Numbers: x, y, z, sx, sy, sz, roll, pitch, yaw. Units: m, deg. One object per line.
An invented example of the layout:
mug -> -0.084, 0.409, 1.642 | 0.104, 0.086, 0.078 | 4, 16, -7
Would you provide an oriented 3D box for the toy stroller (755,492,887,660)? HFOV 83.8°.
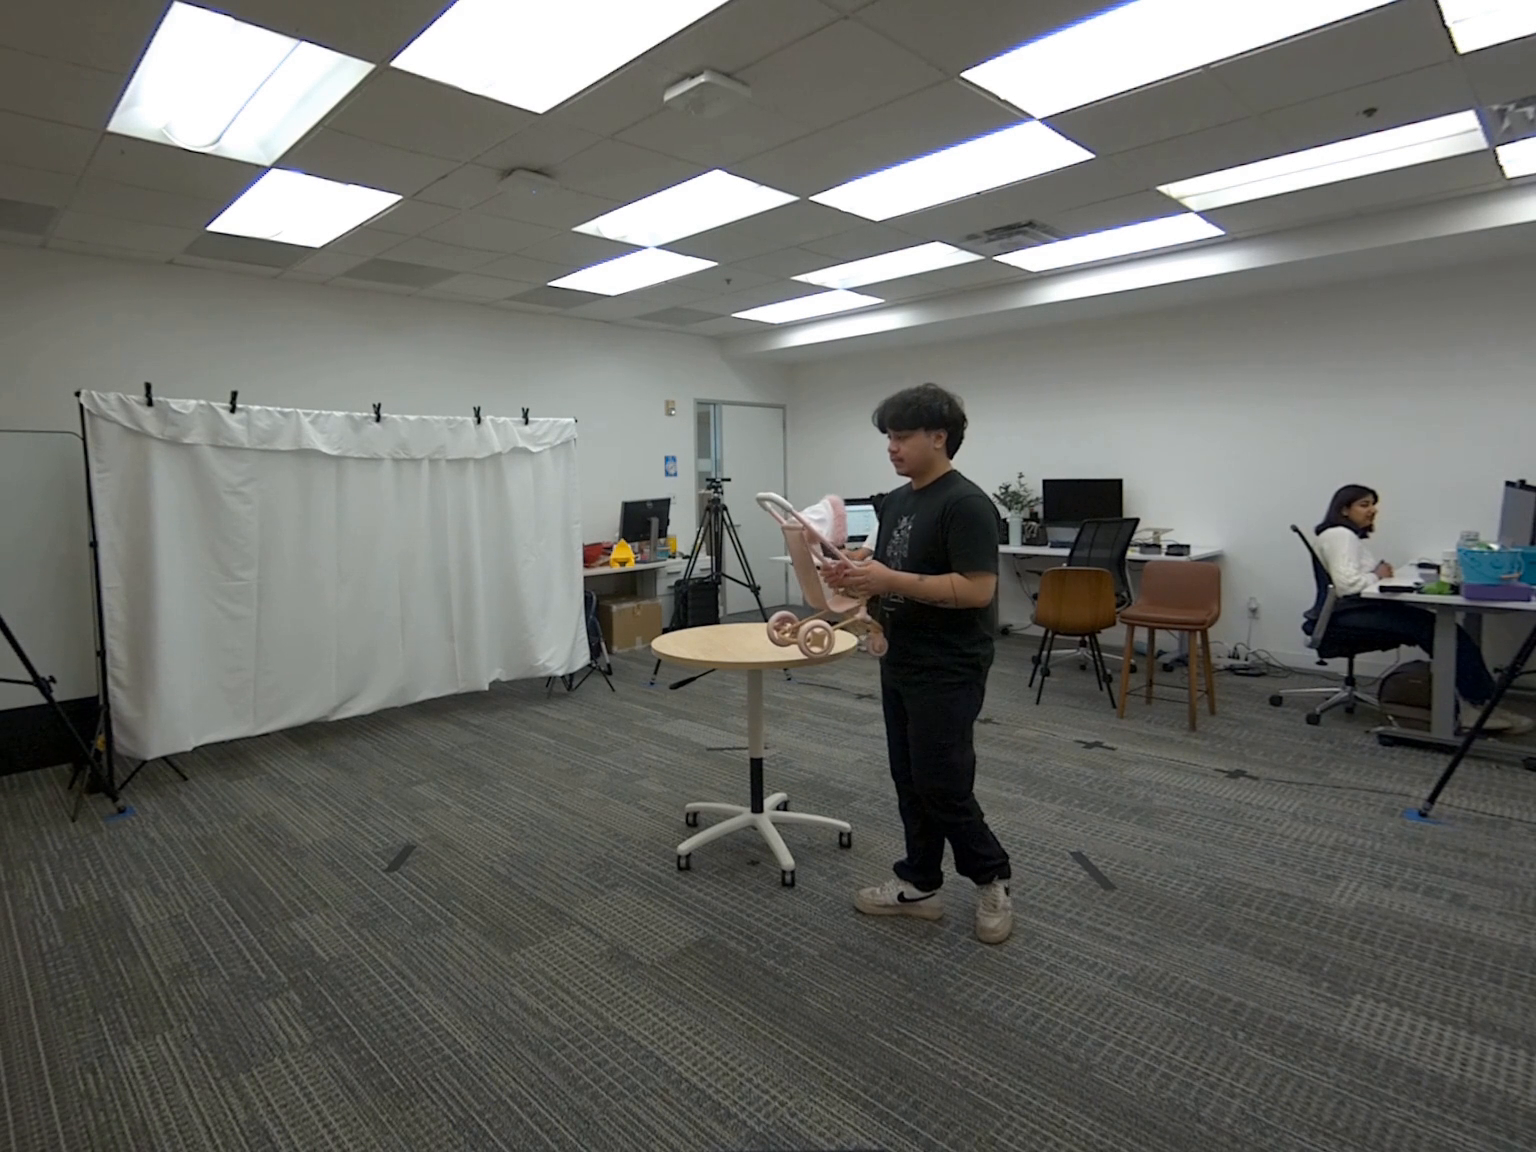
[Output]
toy stroller -> 0.184, 0.002, 2.520 | 0.338, 0.534, 0.285 | -8, 2, -13
